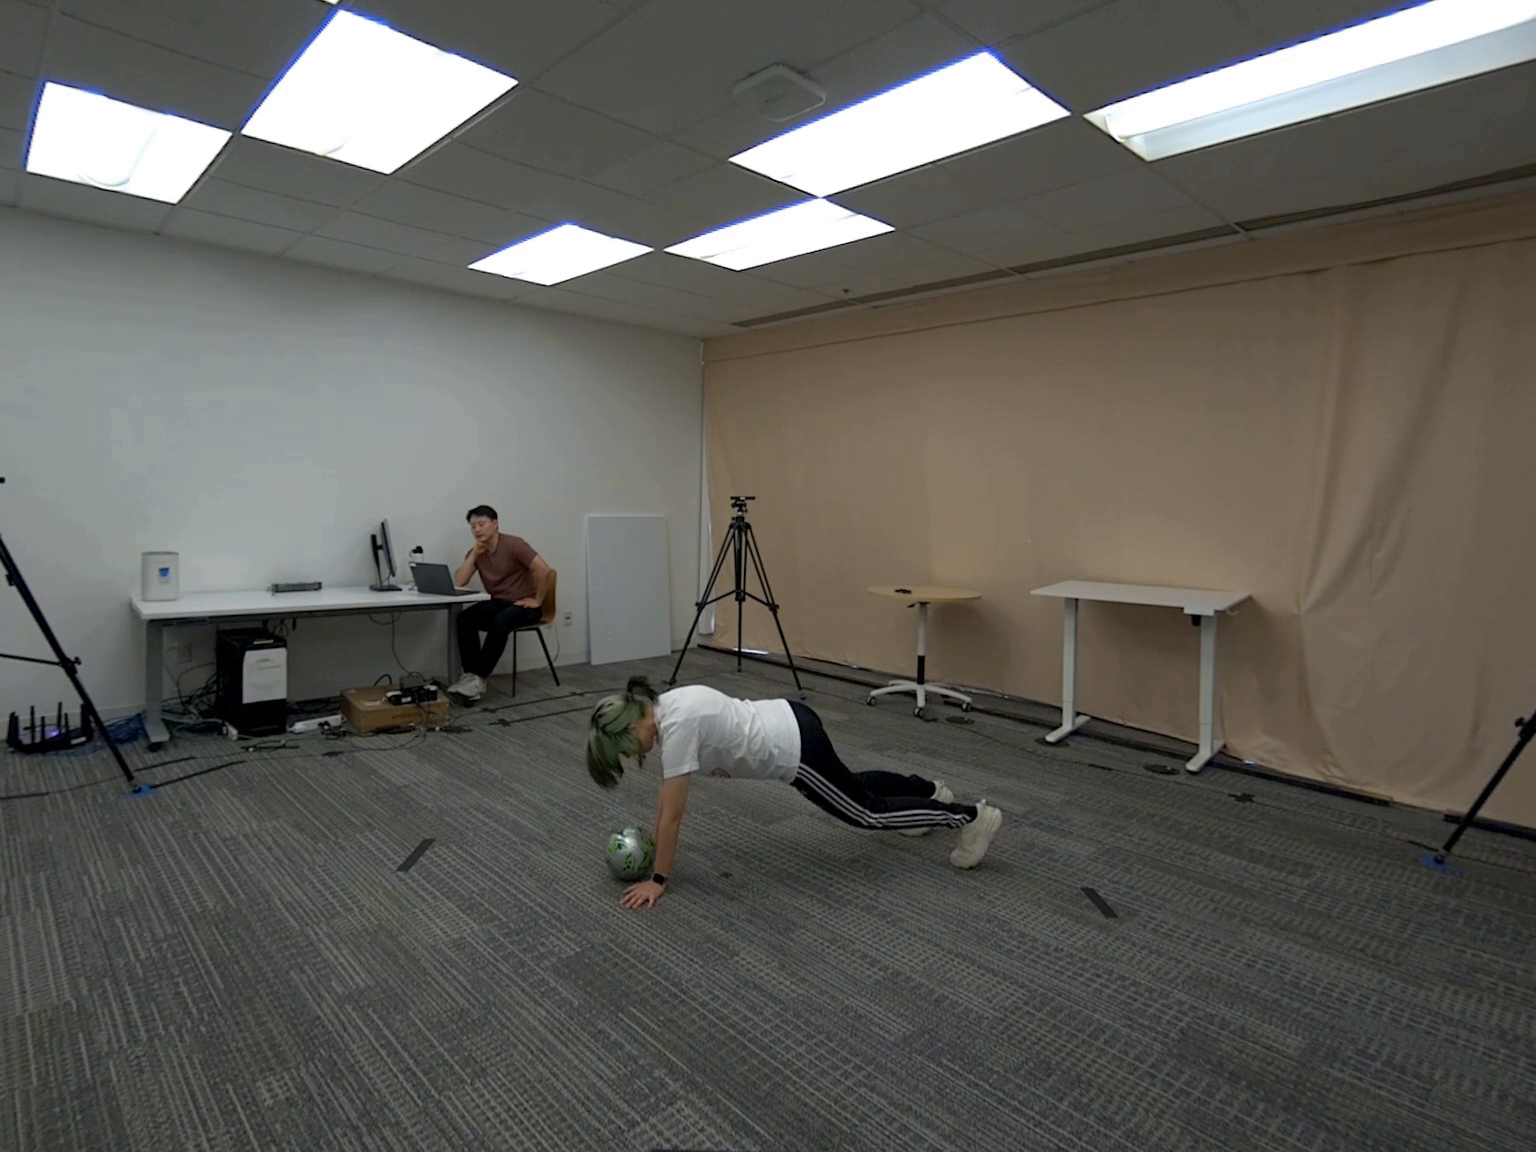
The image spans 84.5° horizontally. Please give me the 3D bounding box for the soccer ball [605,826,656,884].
[{"bbox_3d":[-0.509,1.008,3.067,0.187,0.187,0.188,1,4,-1],"label":"soccer ball"}]
